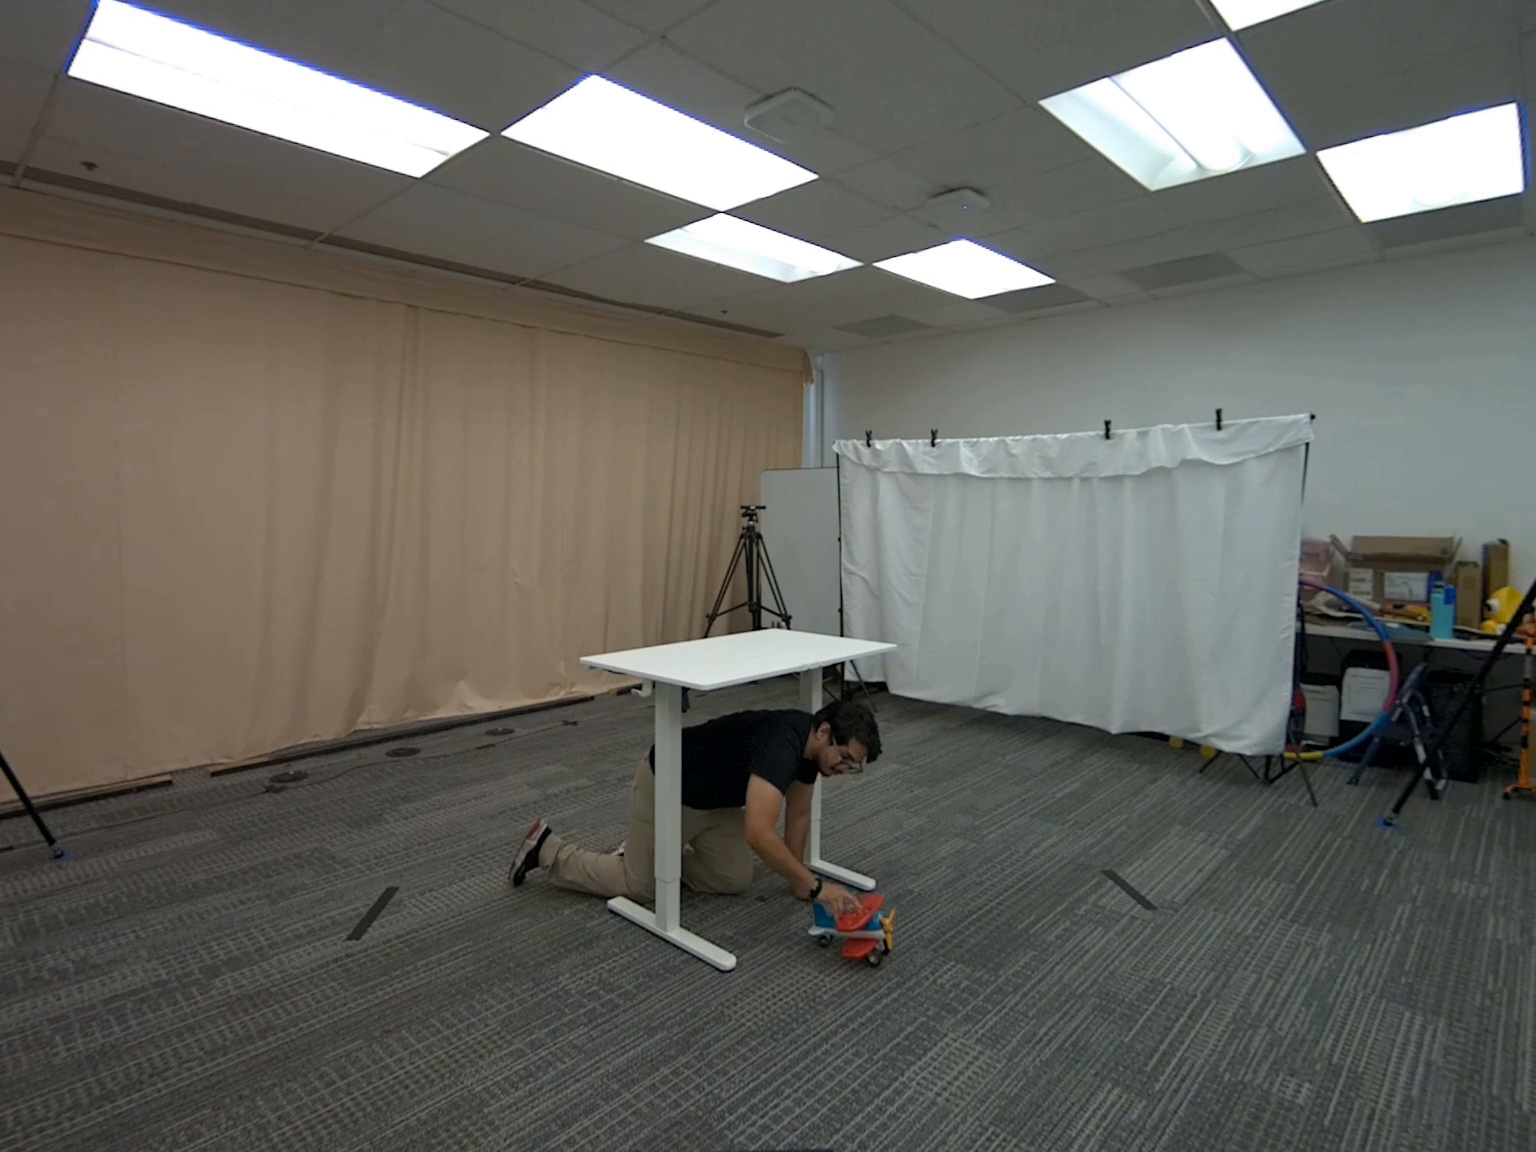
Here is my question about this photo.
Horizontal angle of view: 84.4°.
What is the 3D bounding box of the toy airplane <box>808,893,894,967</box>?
[{"bbox_3d":[0.261,1.097,2.599,0.260,0.156,0.251,1,4,2],"label":"toy airplane"}]
